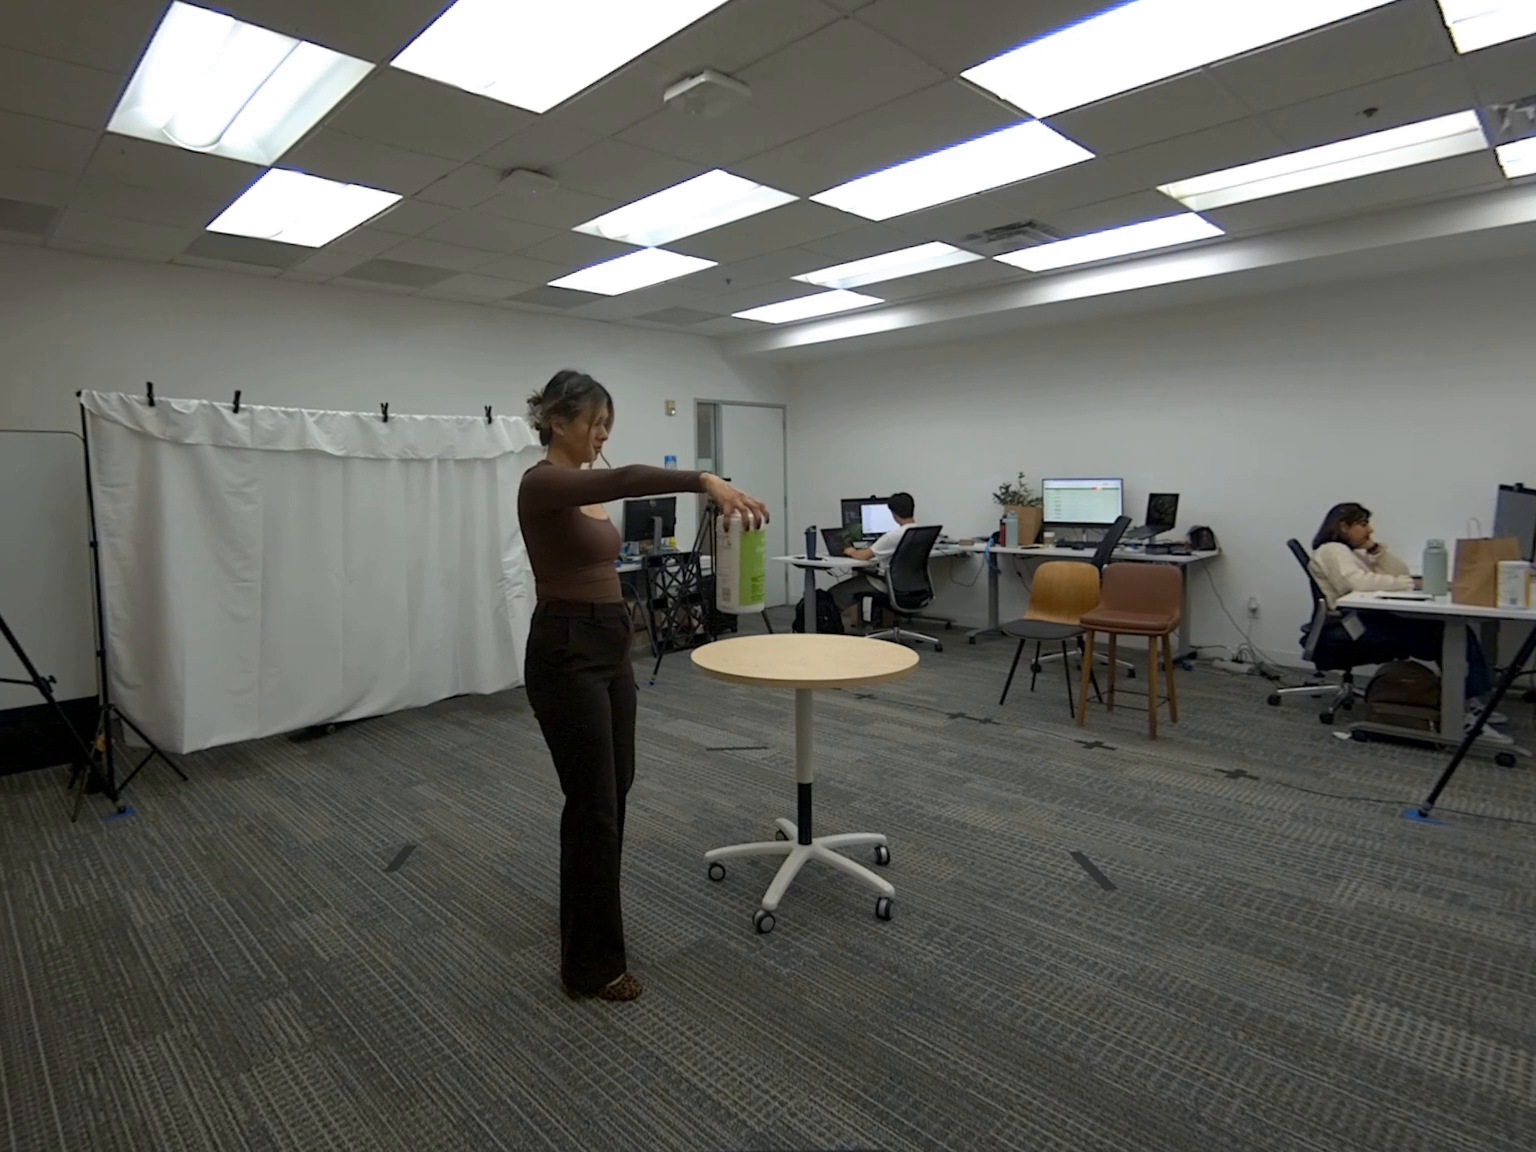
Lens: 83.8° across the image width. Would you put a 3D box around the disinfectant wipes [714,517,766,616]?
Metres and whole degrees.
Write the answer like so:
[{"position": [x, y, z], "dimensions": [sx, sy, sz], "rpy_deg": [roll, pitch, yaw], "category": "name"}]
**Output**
[{"position": [-0.052, -0.028, 1.928], "dimensions": [0.118, 0.216, 0.118], "rpy_deg": [-1, 7, -2], "category": "disinfectant wipes"}]
